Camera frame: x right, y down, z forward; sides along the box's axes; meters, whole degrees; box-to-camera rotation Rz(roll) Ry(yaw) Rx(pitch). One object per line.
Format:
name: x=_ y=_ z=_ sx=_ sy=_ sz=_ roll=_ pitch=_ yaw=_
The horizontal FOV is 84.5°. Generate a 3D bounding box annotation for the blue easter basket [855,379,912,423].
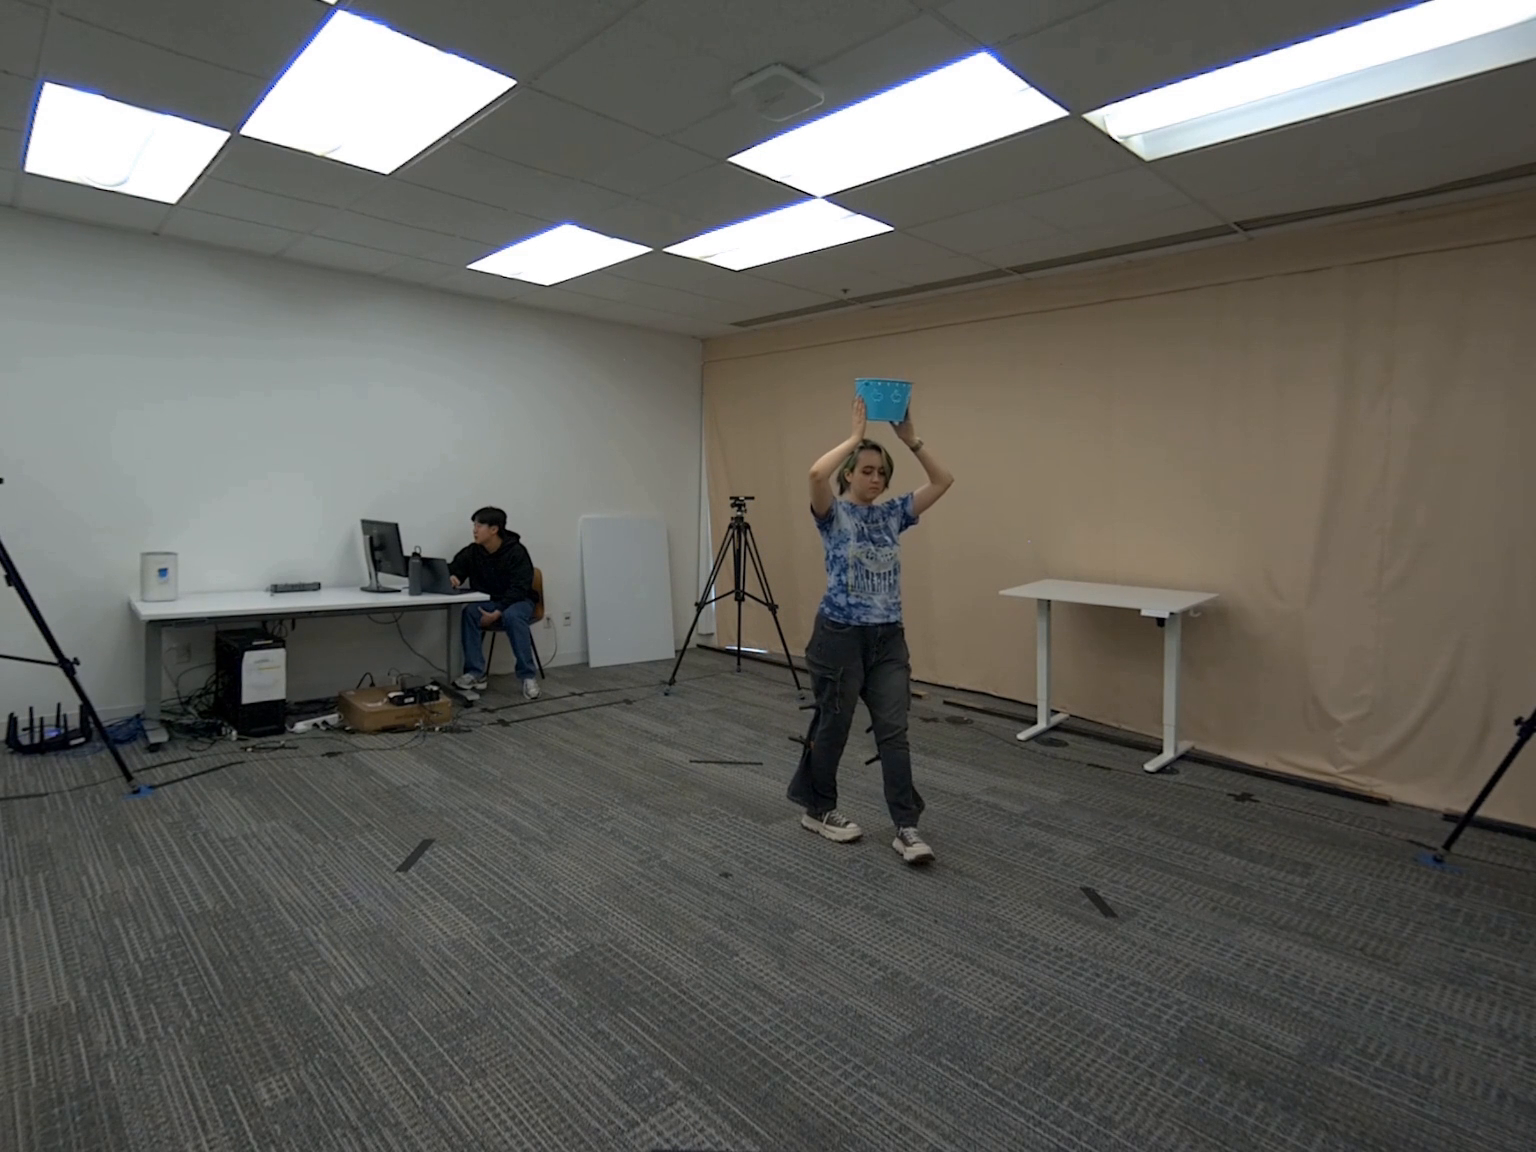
blue easter basket: x=0.450 y=-0.692 z=3.313 sx=0.243 sy=0.155 sz=0.245 roll=5 pitch=10 yaw=-2
